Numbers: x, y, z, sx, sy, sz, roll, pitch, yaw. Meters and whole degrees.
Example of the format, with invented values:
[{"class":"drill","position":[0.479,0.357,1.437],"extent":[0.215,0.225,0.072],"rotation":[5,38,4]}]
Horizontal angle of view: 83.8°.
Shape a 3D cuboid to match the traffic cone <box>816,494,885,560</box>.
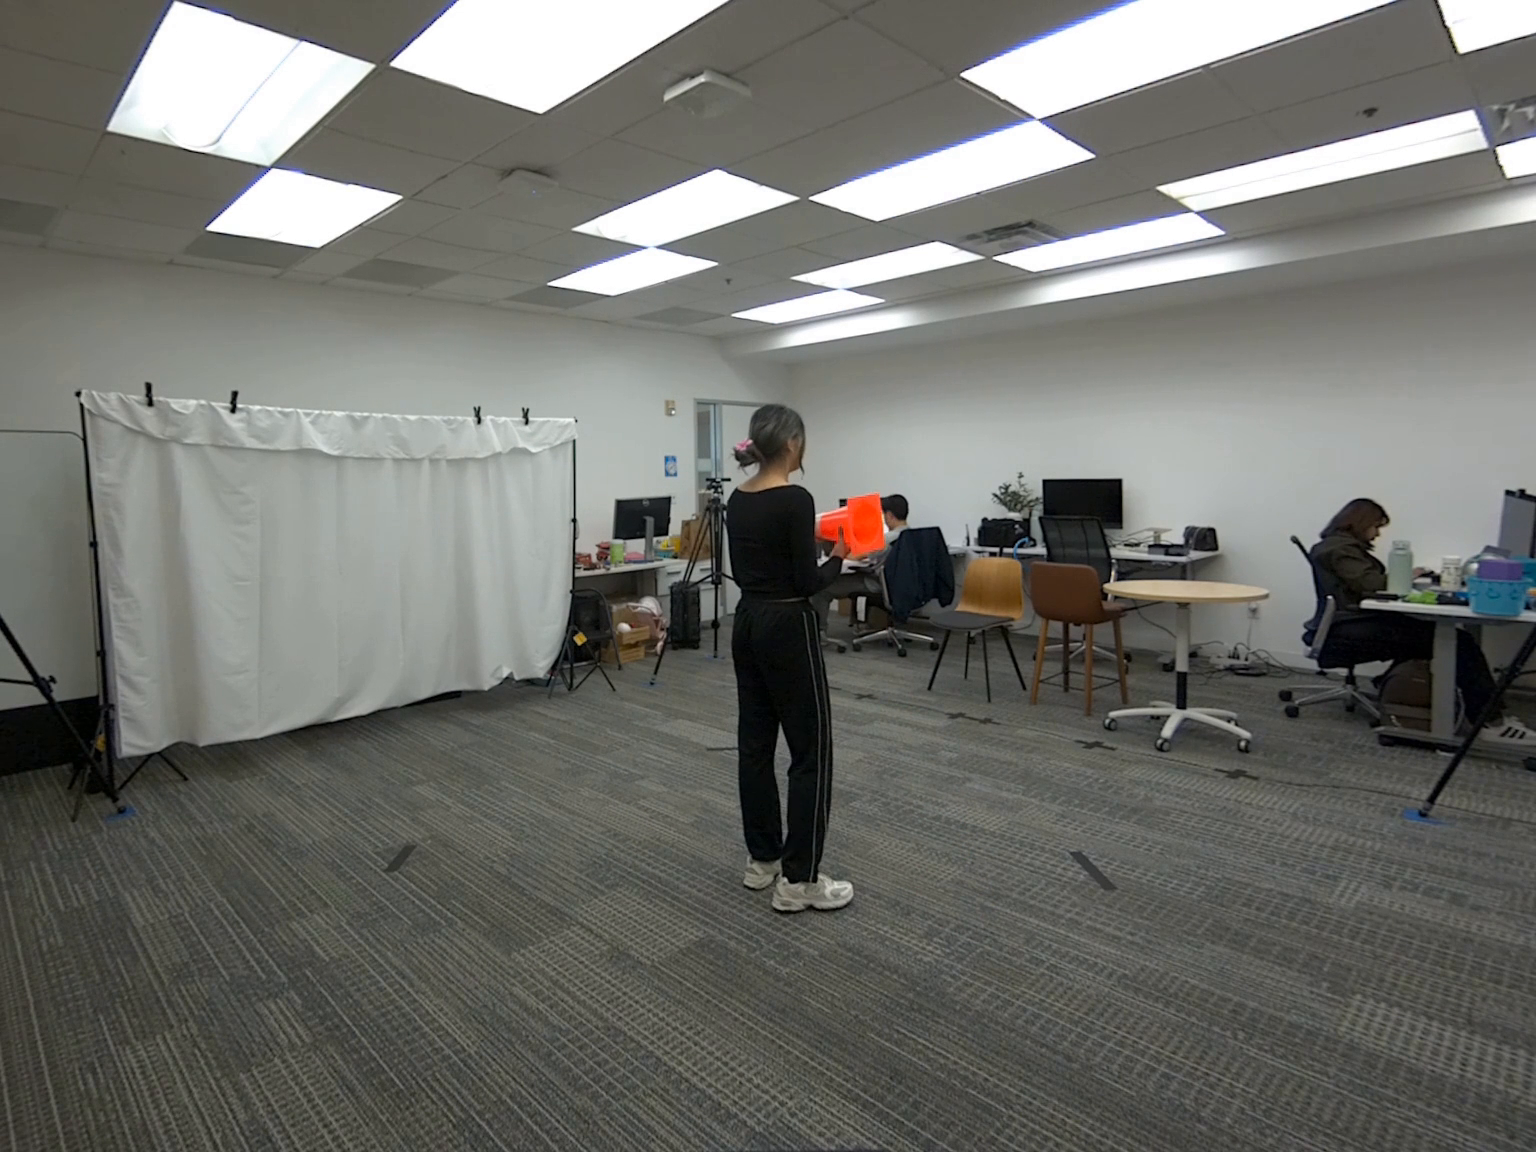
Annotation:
[{"class":"traffic cone","position":[0.208,-0.185,3.116],"extent":[0.395,0.204,0.198],"rotation":[2,9,45]}]
